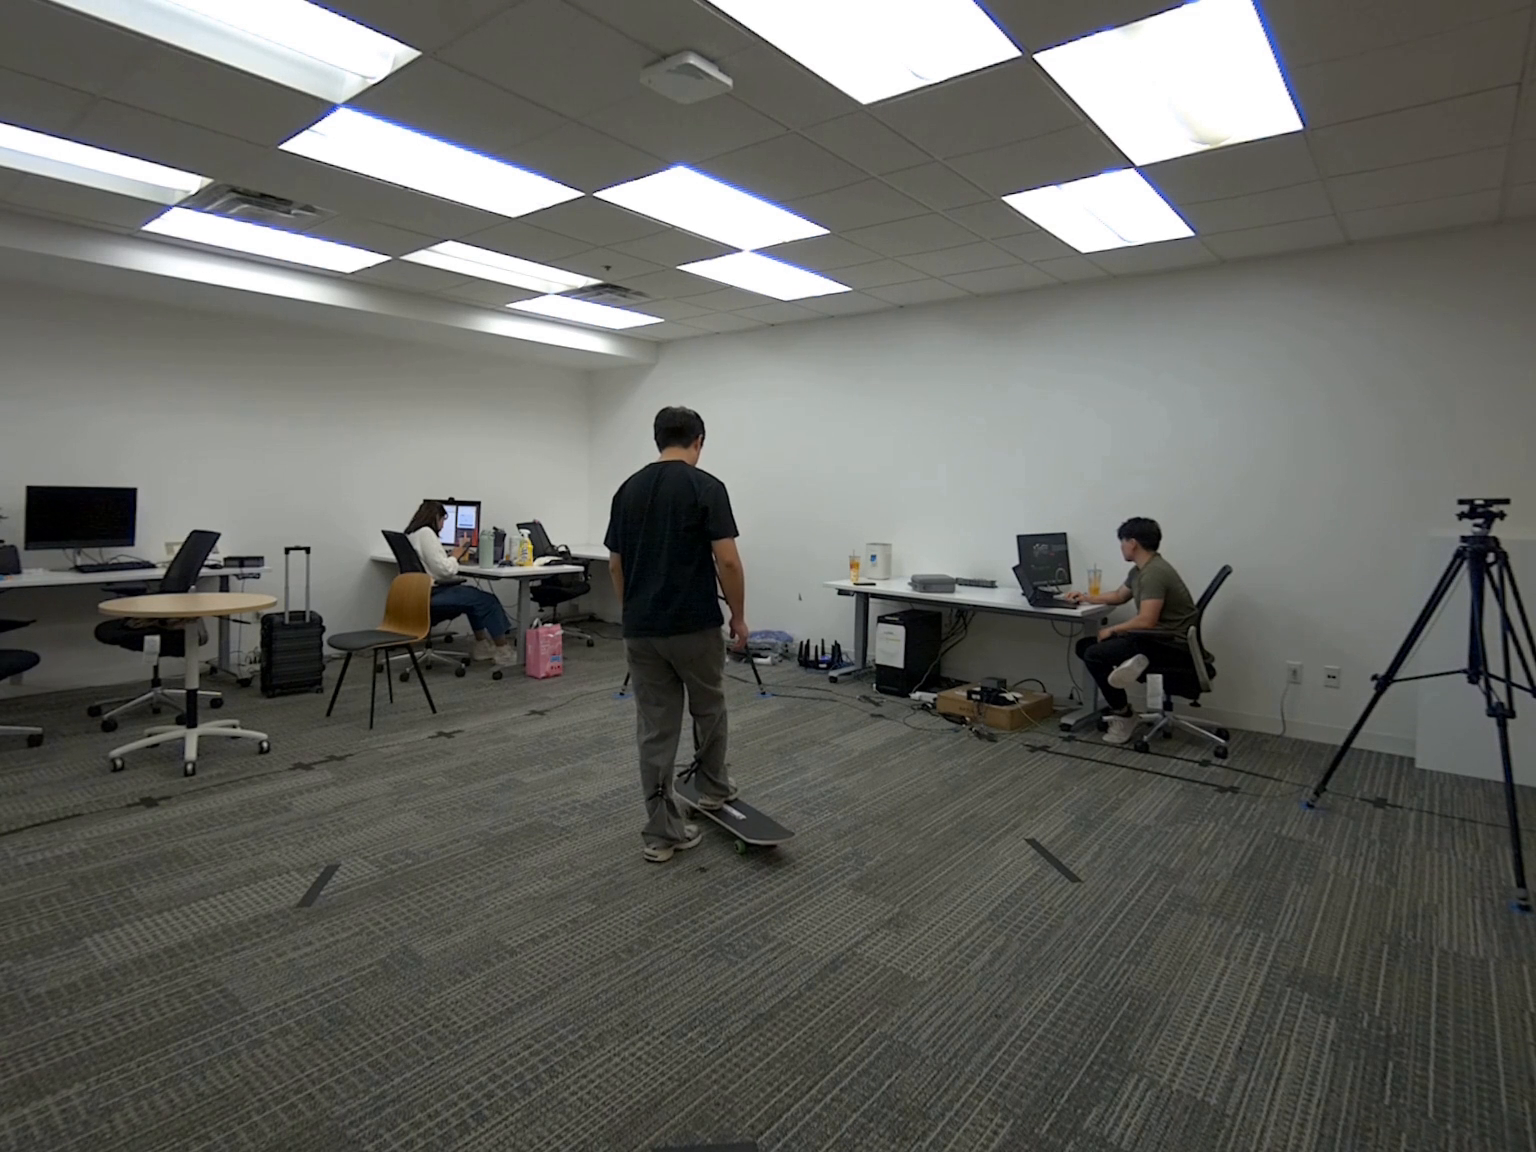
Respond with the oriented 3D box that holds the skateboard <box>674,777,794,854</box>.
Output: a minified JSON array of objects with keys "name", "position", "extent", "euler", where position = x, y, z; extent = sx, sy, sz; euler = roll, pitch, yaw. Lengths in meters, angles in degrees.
[{"name":"skateboard","position":[-0.162,0.981,3.460],"extent":[0.188,0.110,0.810],"euler":[-1,6,-32]}]
